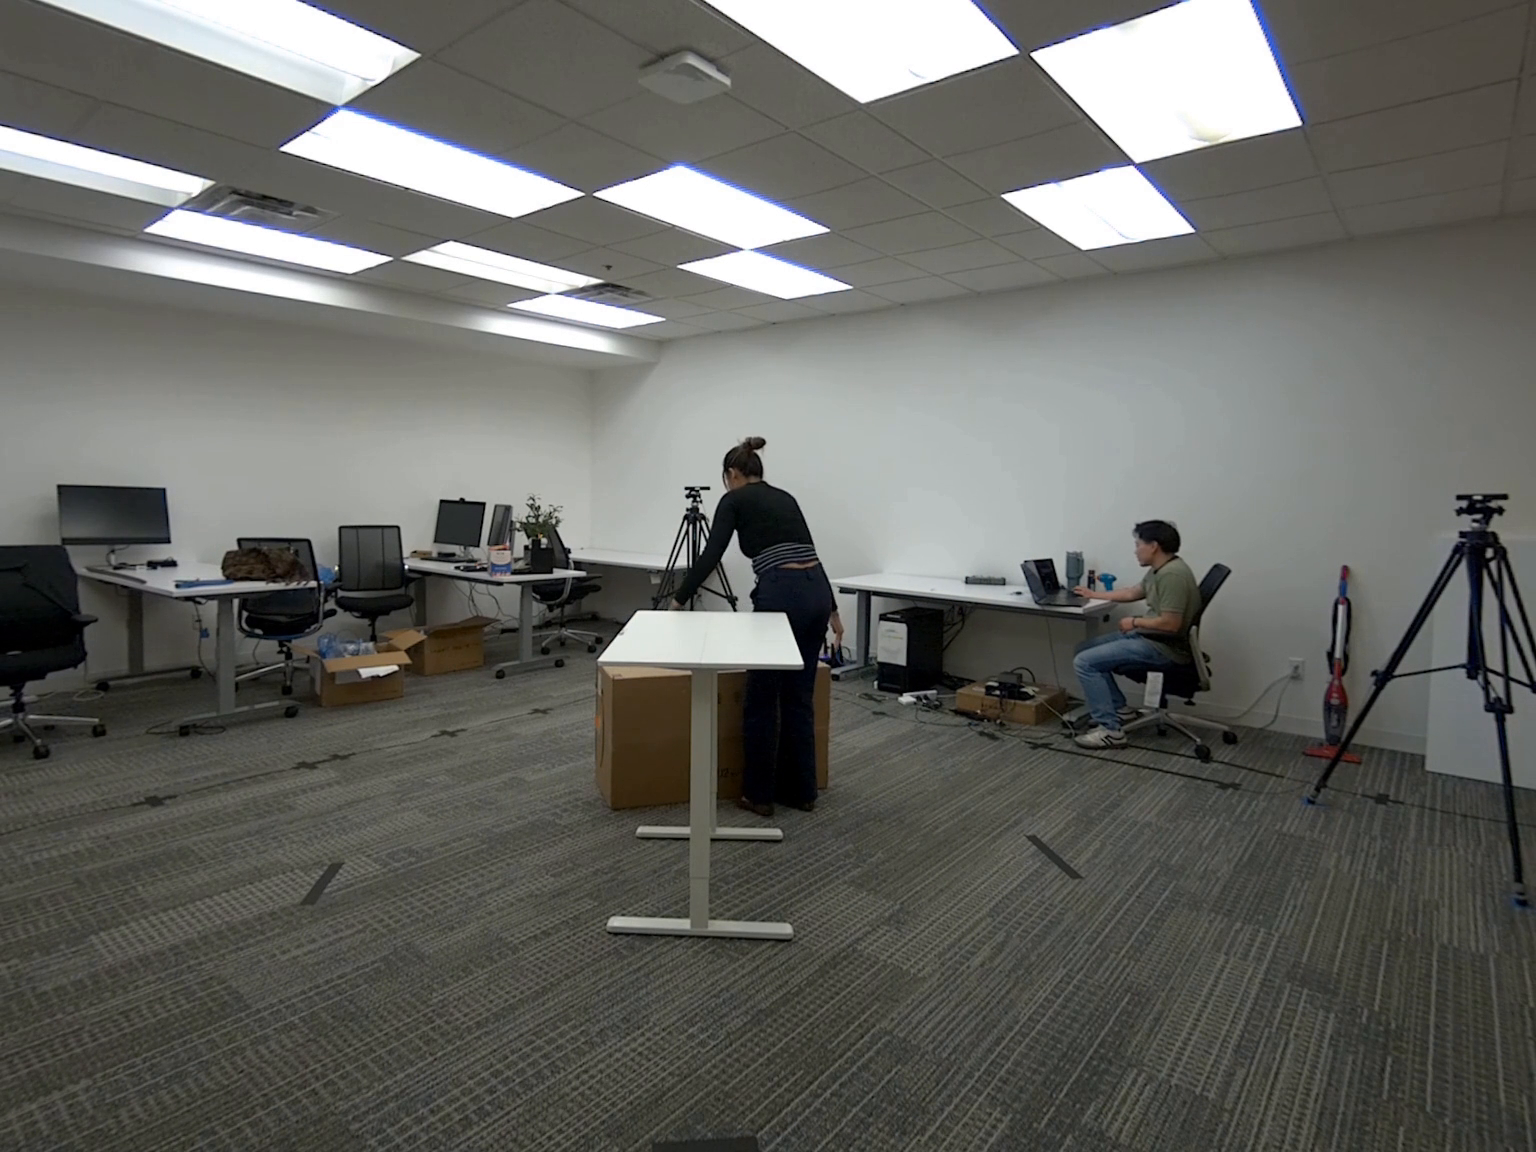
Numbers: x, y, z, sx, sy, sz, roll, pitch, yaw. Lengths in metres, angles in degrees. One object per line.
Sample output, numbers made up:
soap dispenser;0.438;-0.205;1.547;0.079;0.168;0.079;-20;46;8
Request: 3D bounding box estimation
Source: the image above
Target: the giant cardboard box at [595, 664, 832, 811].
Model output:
giant cardboard box;-0.283;0.682;3.996;1.007;0.576;0.435;-1;4;-18
